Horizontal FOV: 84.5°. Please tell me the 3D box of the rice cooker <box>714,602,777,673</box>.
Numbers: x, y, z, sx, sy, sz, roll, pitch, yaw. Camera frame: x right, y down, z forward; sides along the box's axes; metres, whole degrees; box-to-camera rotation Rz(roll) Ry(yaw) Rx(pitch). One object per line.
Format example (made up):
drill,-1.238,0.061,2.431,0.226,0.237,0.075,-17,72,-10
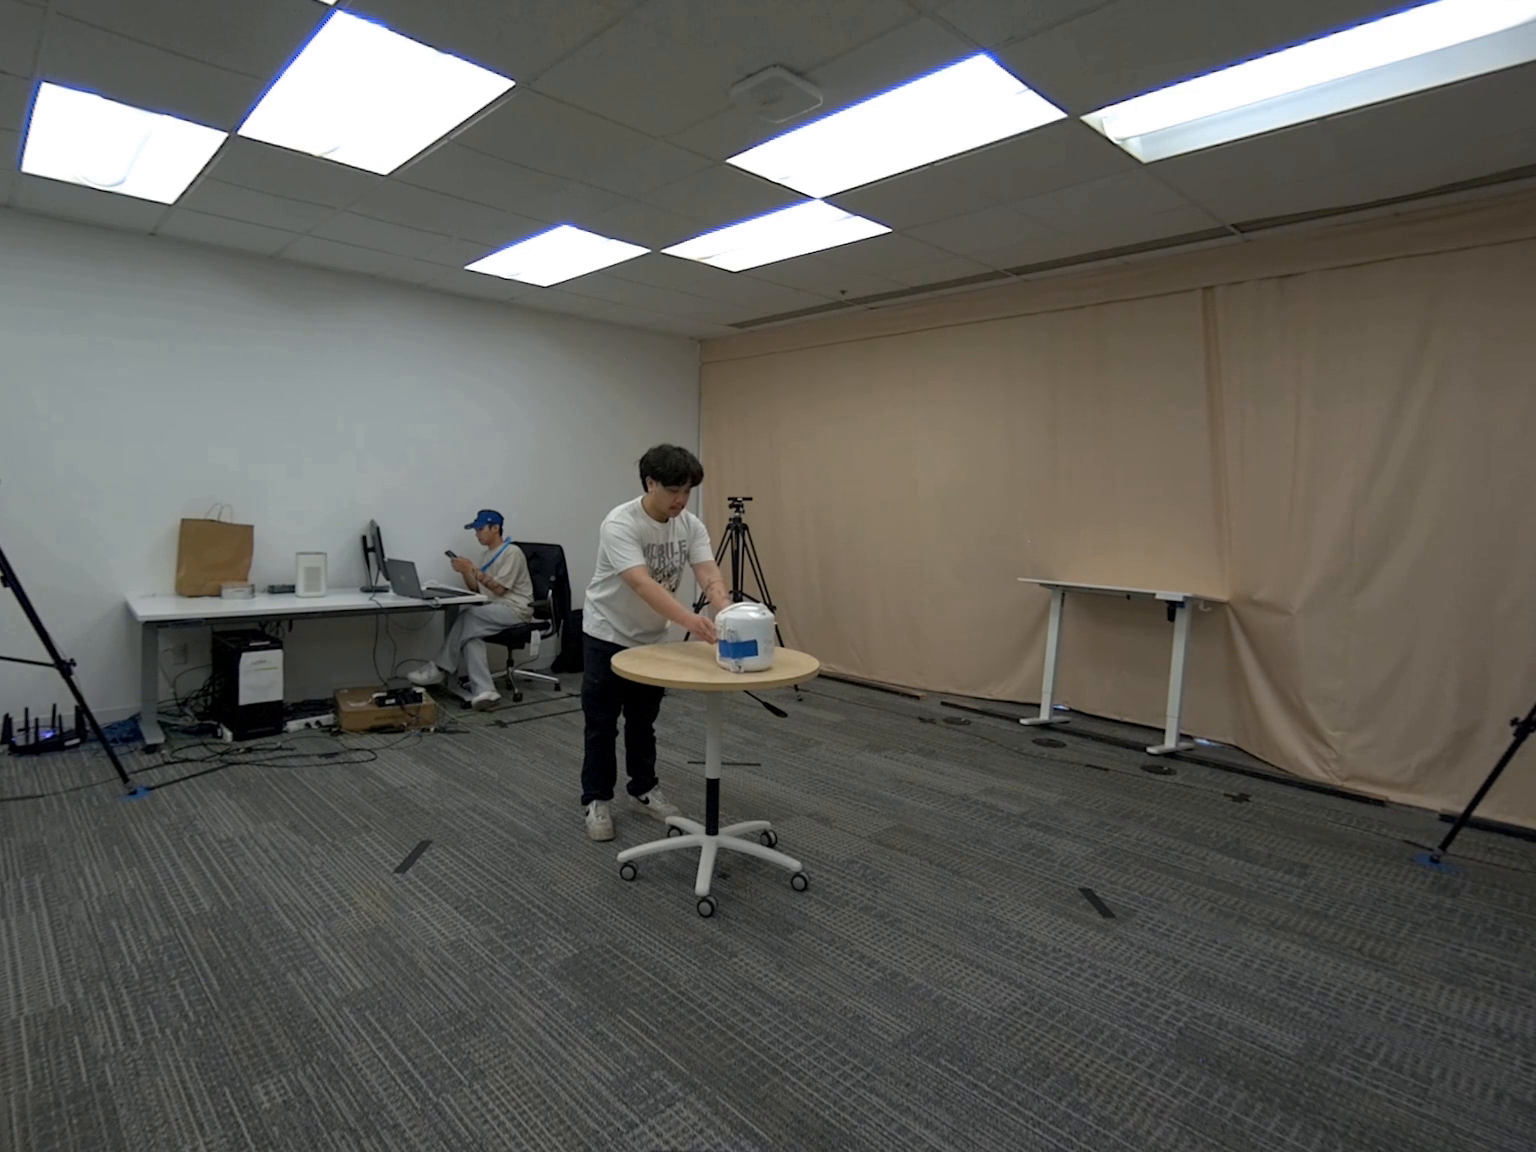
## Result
rice cooker,-0.087,0.209,2.971,0.216,0.232,0.222,0,6,-25
